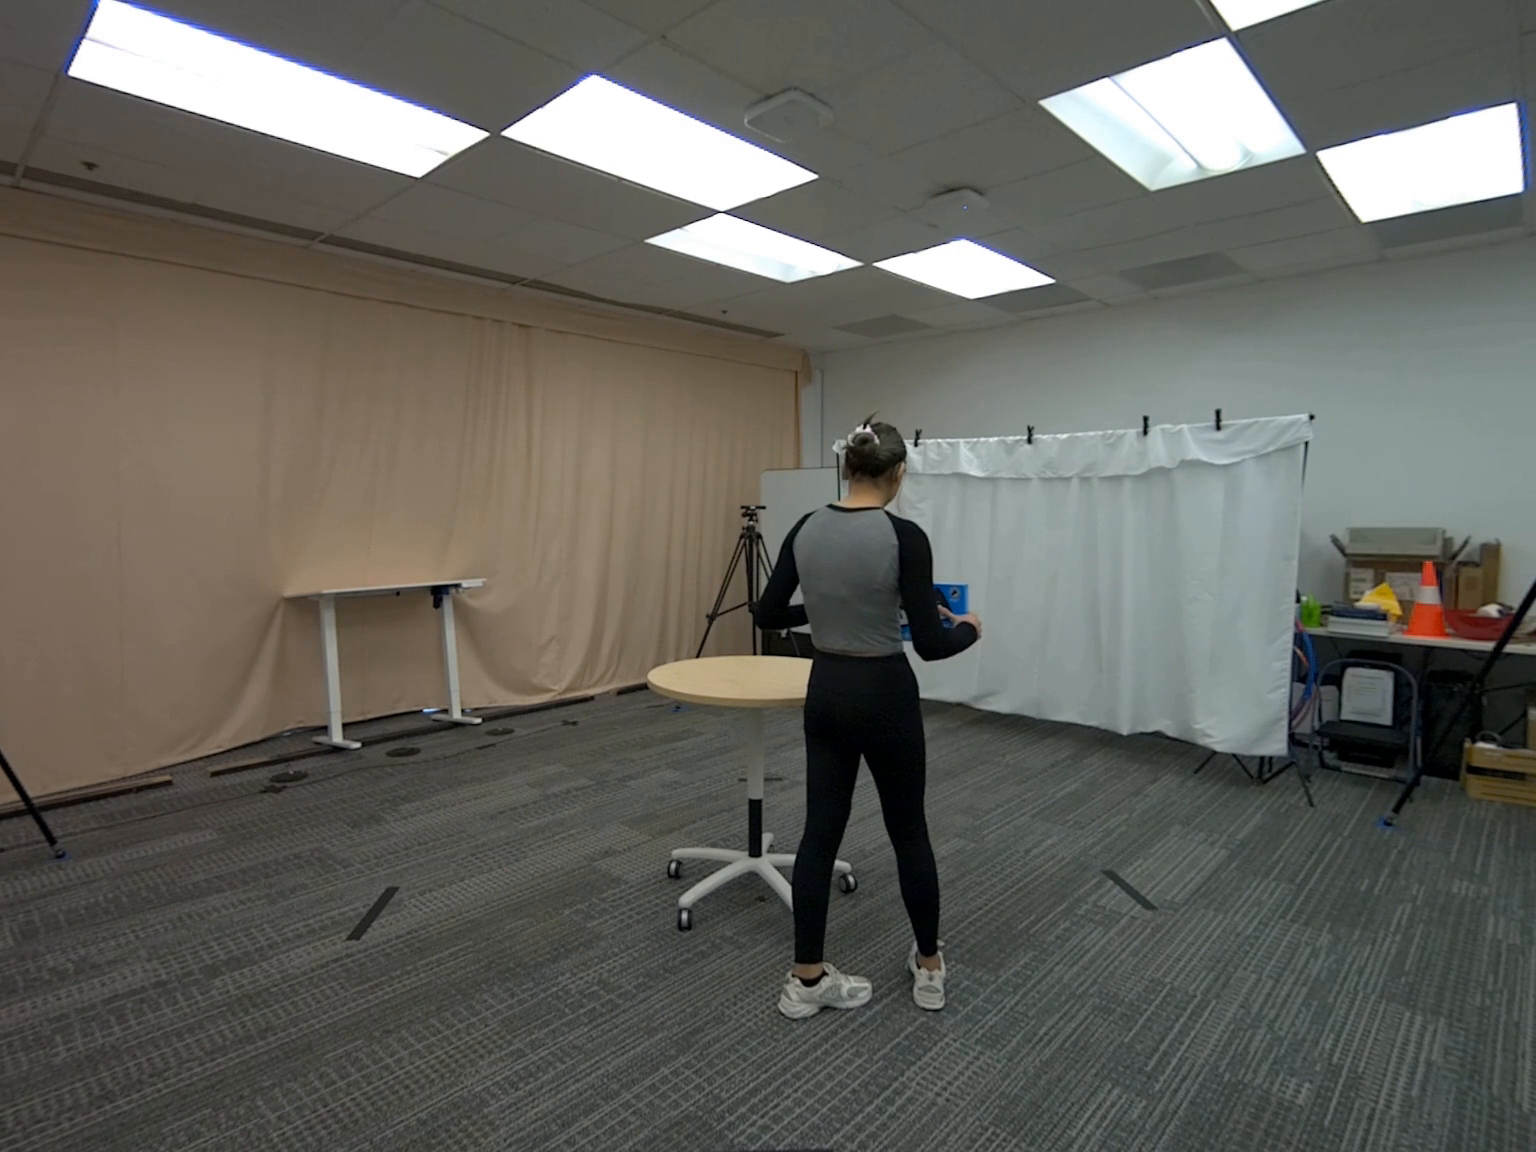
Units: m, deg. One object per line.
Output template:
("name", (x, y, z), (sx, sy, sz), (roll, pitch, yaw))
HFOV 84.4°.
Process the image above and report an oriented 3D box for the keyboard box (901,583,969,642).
("keyboard box", (0.380, 0.102, 2.486), (0.449, 0.176, 0.057), (1, 0, 29))
